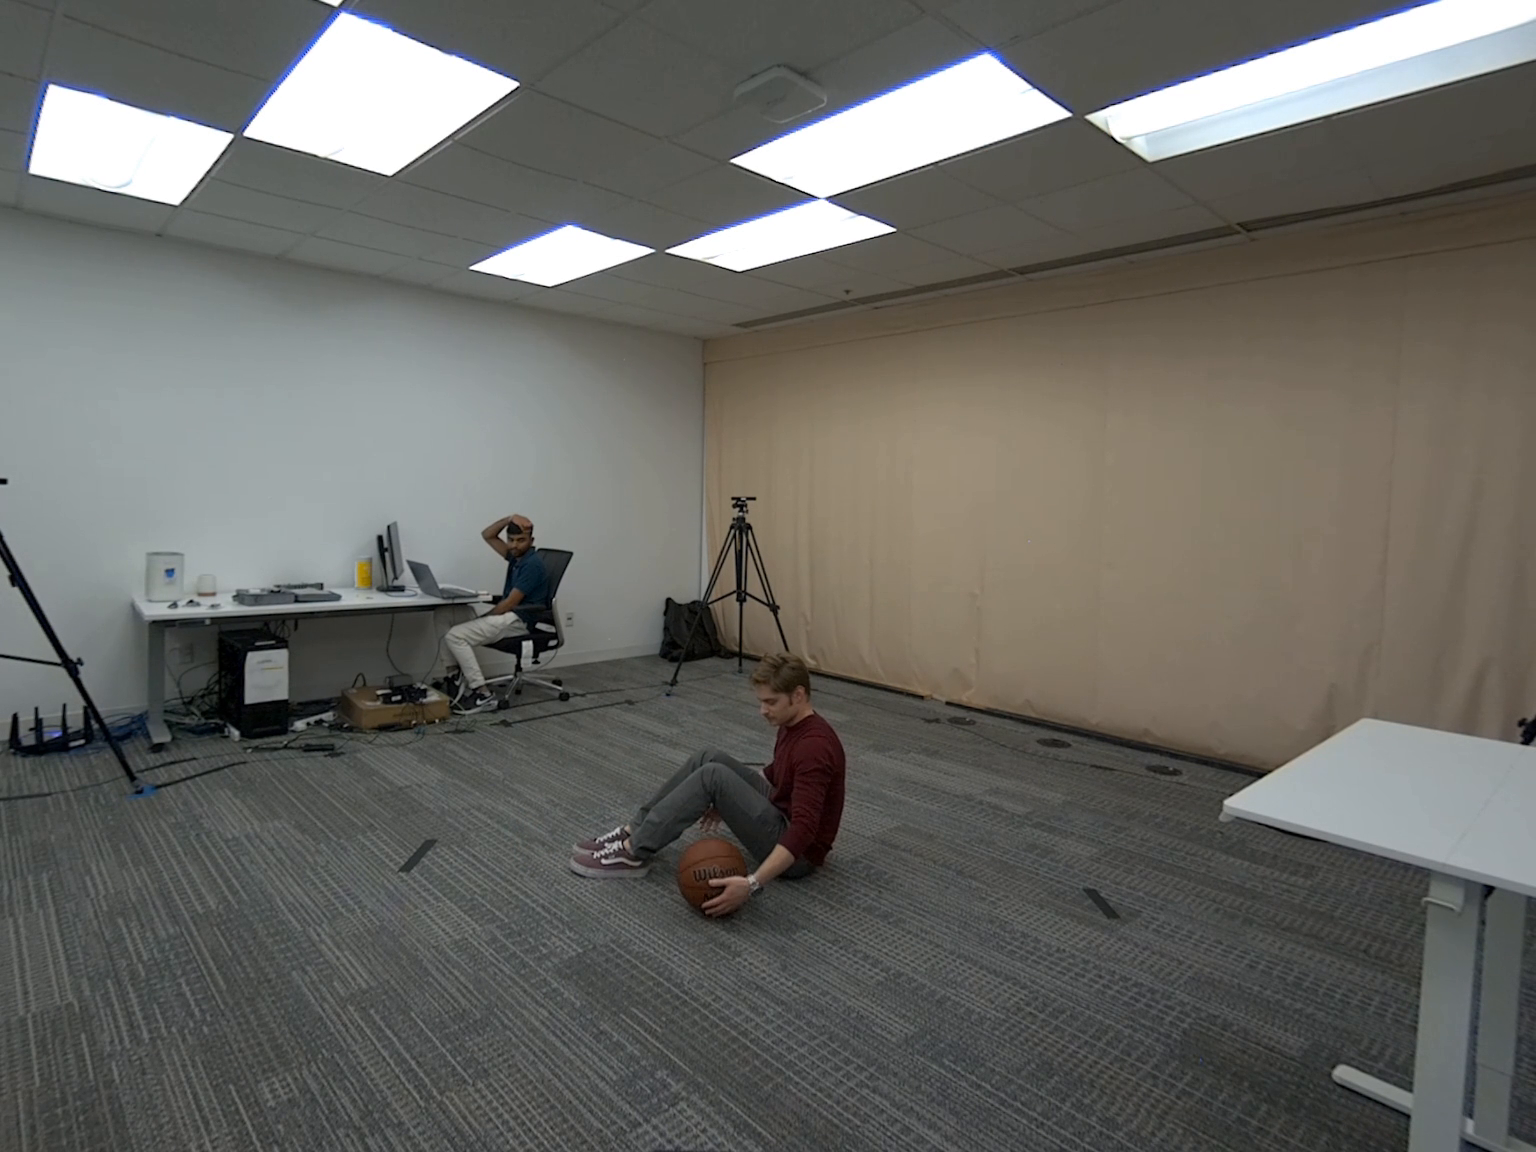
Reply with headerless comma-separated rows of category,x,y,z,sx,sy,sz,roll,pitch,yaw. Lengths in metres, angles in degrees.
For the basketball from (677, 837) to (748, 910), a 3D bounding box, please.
basketball,-0.201,1.010,2.845,0.236,0.235,0.237,1,4,-1
